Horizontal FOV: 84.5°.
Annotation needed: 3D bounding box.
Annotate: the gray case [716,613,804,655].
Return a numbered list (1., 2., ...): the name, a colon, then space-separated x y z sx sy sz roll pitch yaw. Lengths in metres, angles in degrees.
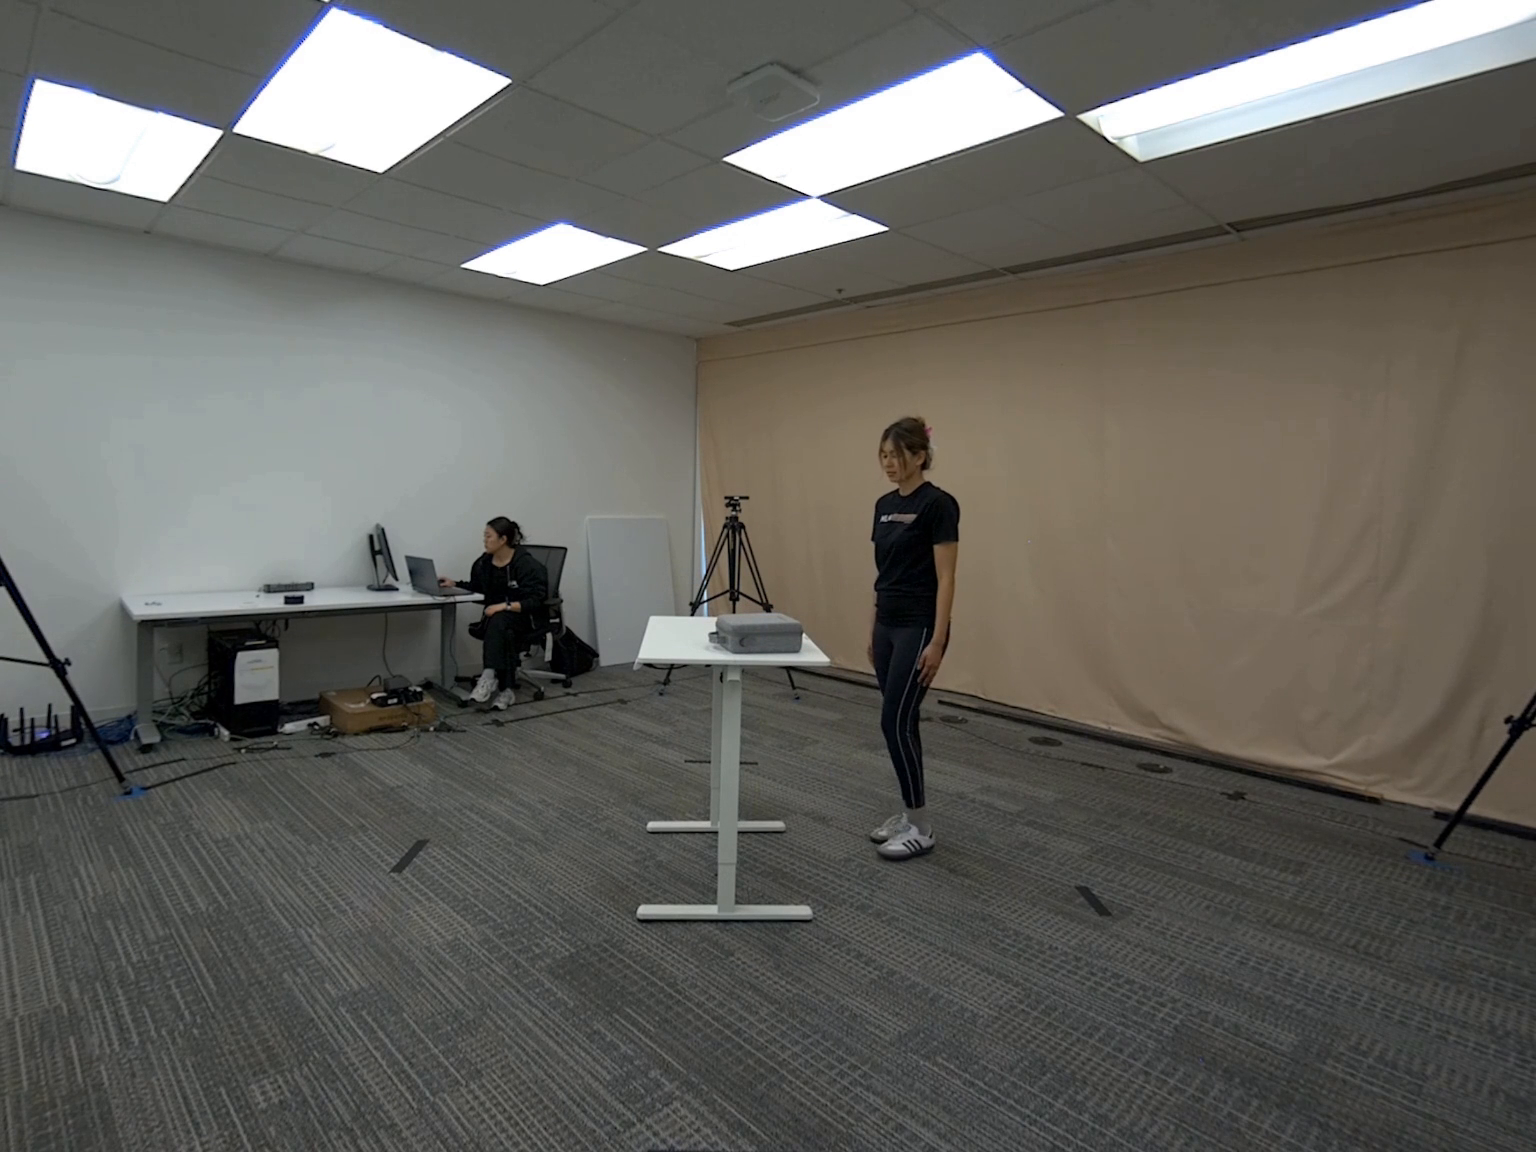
1. gray case: -0.044 0.192 2.850 0.258 0.104 0.260 0 5 -15
